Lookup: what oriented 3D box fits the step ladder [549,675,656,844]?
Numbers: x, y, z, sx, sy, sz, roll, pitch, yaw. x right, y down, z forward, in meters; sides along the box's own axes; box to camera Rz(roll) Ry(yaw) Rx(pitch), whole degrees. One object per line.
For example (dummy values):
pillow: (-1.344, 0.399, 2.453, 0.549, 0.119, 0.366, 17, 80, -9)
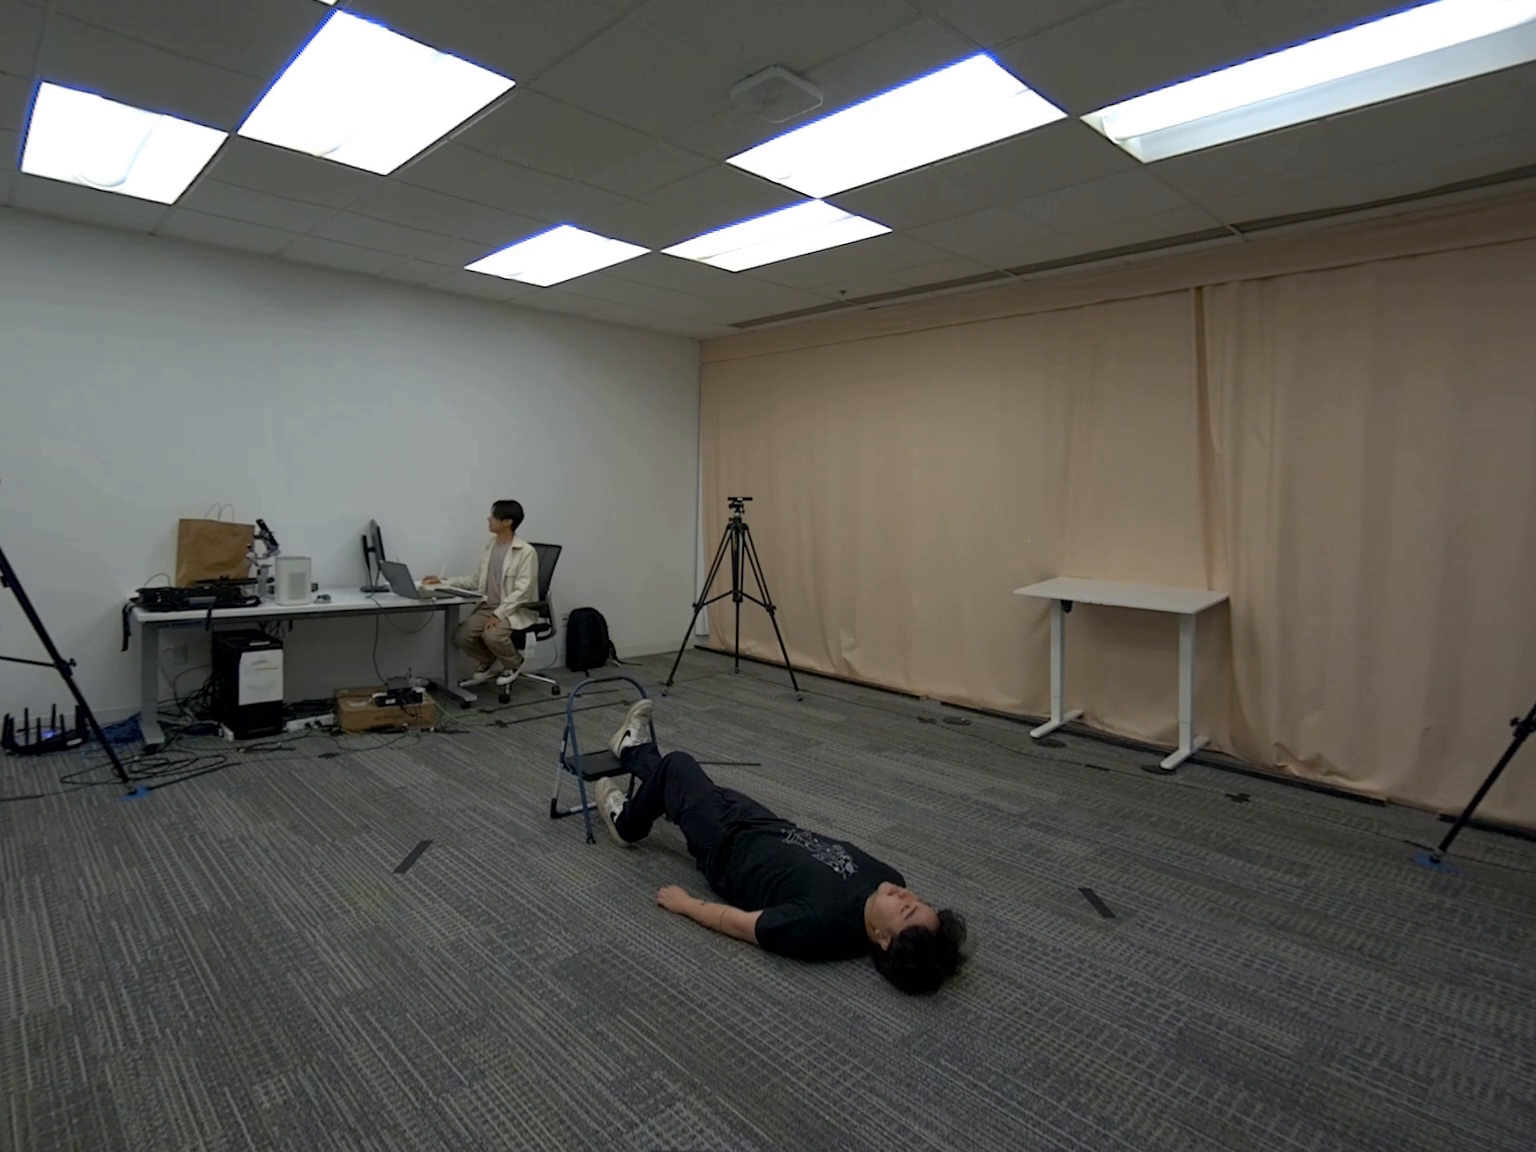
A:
step ladder: (-0.678, 0.751, 3.620, 0.421, 0.605, 0.358, -2, 5, -43)
